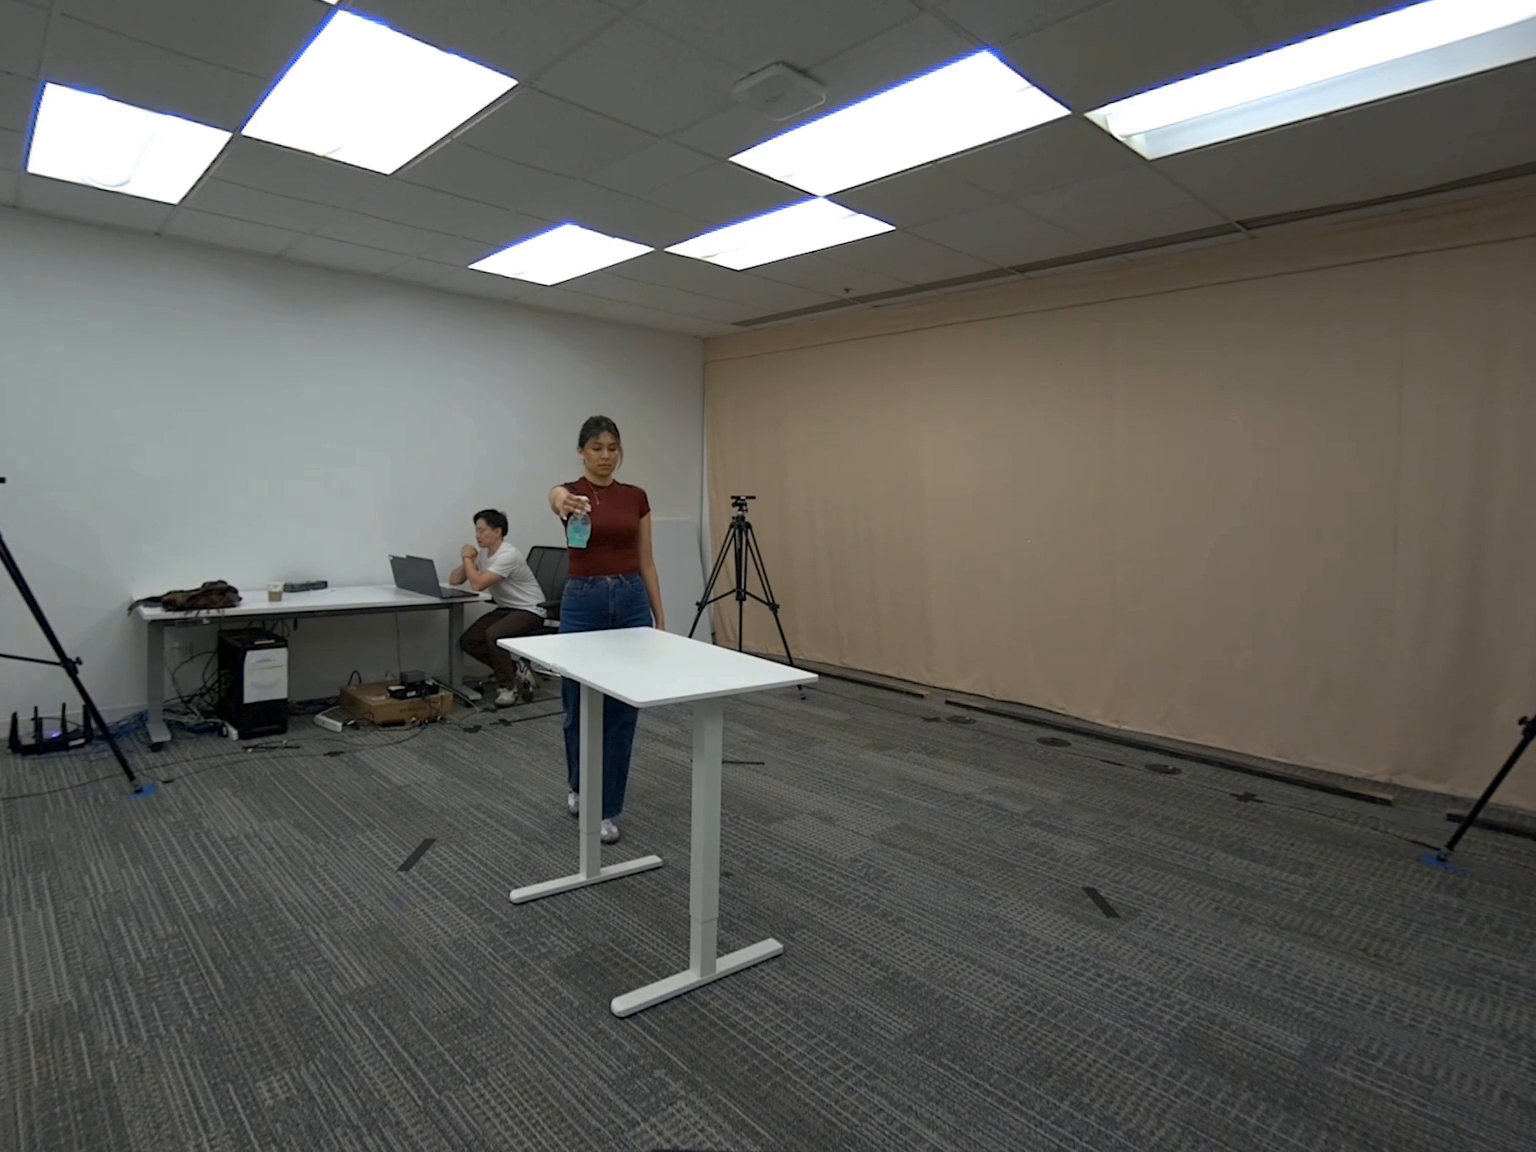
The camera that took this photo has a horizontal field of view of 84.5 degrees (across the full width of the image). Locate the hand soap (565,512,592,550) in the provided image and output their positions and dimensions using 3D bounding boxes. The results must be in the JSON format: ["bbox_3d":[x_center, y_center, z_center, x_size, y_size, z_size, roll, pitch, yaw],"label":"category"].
[{"bbox_3d":[-0.631,-0.178,2.771,0.044,0.168,0.082,3,0,35],"label":"hand soap"}]
